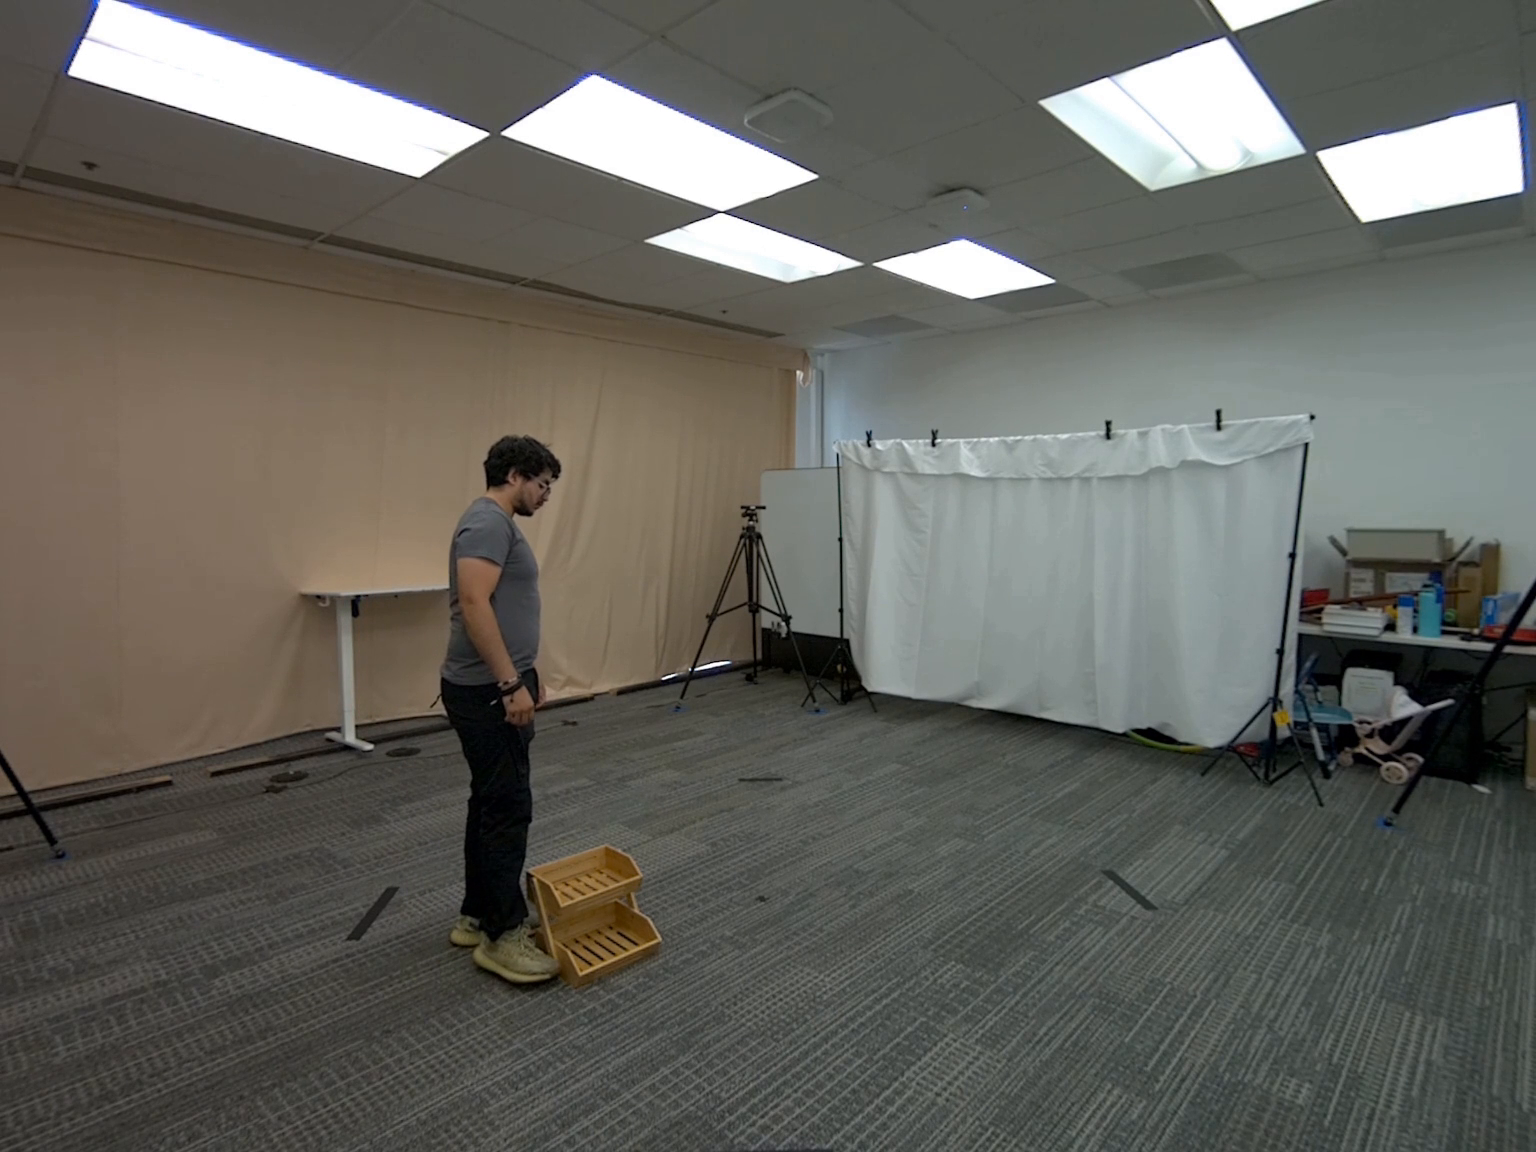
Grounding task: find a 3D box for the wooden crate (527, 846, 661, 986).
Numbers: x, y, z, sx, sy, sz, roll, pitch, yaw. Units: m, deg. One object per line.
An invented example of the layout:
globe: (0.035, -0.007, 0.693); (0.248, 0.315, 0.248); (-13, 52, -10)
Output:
wooden crate: (-0.542, 1.048, 2.612); (0.314, 0.273, 0.312); (-4, 4, -43)
